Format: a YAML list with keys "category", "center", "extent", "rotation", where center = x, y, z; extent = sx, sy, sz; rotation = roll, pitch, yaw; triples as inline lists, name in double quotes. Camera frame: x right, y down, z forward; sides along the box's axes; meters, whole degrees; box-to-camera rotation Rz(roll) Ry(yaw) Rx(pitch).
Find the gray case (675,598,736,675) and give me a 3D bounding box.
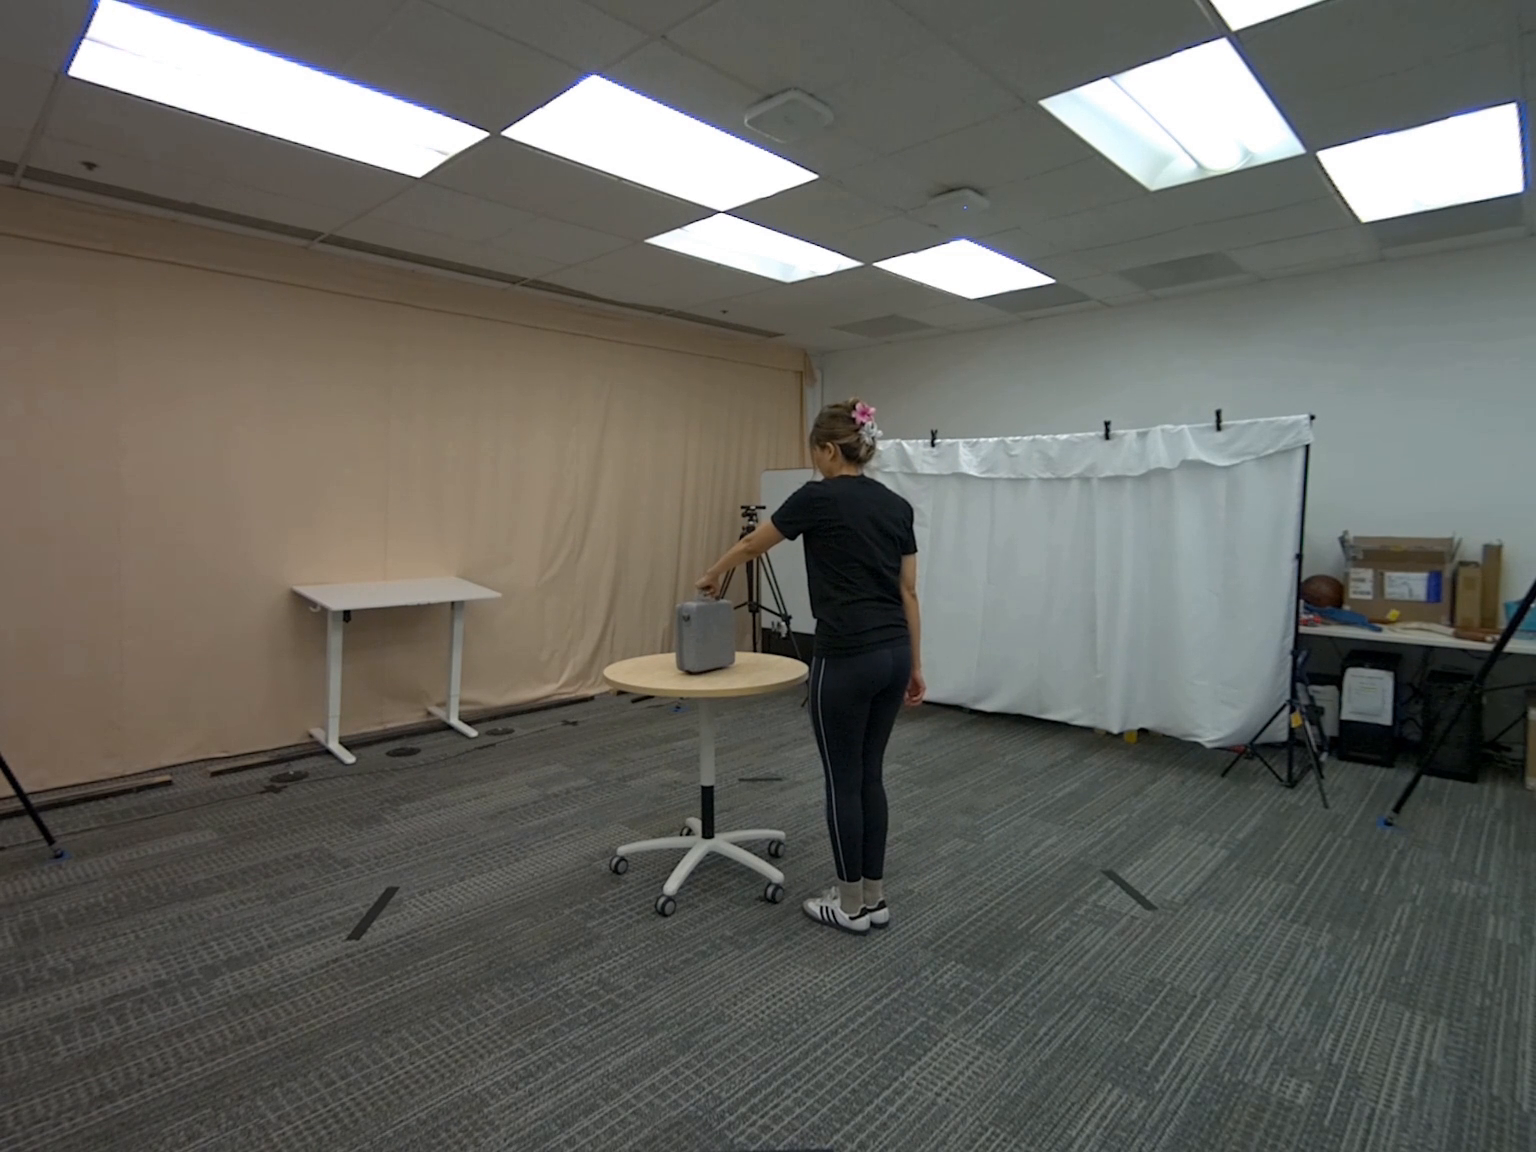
- category: "gray case"
  center: [-0.226, 0.213, 3.110]
  extent: [0.107, 0.260, 0.249]
  rotation: [1, 3, 35]
